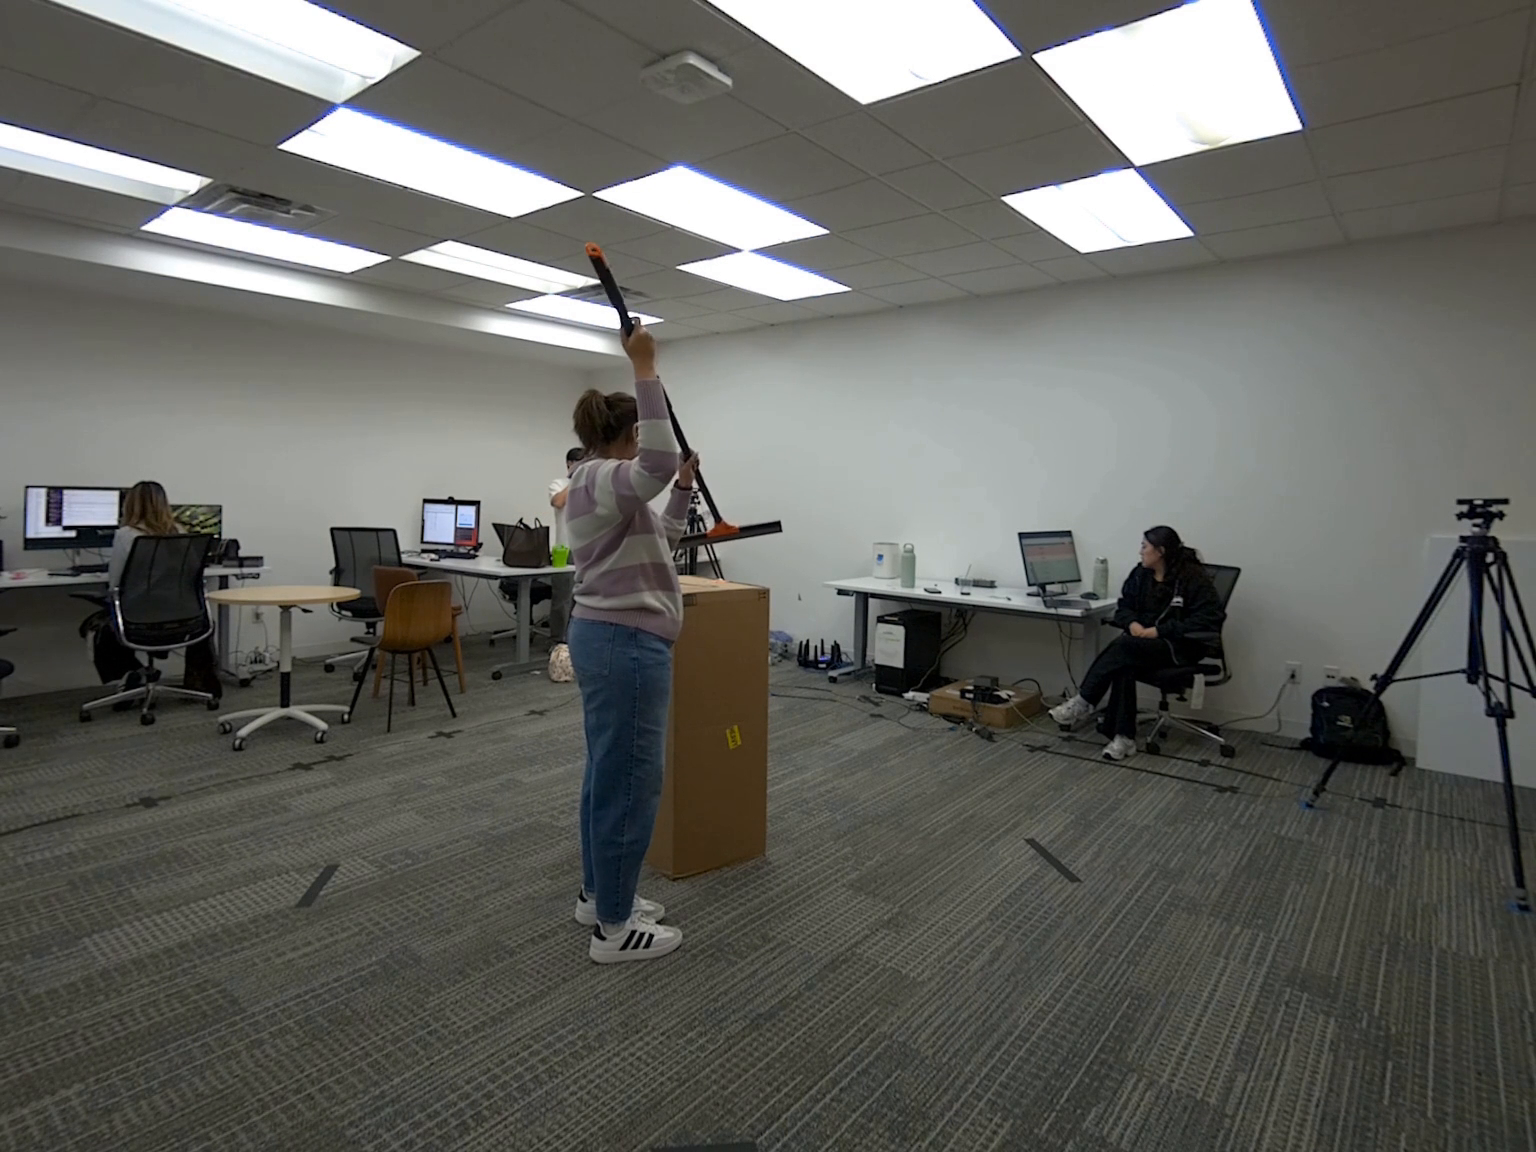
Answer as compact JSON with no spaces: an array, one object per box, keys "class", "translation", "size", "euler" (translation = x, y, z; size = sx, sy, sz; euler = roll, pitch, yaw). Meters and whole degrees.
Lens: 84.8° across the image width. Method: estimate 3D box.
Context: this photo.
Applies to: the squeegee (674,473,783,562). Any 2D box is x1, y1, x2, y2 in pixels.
[{"class":"squeegee","translation":[-0.276,-0.449,2.568],"size":[0.440,0.054,1.490],"euler":[-7,-25,6]}]
